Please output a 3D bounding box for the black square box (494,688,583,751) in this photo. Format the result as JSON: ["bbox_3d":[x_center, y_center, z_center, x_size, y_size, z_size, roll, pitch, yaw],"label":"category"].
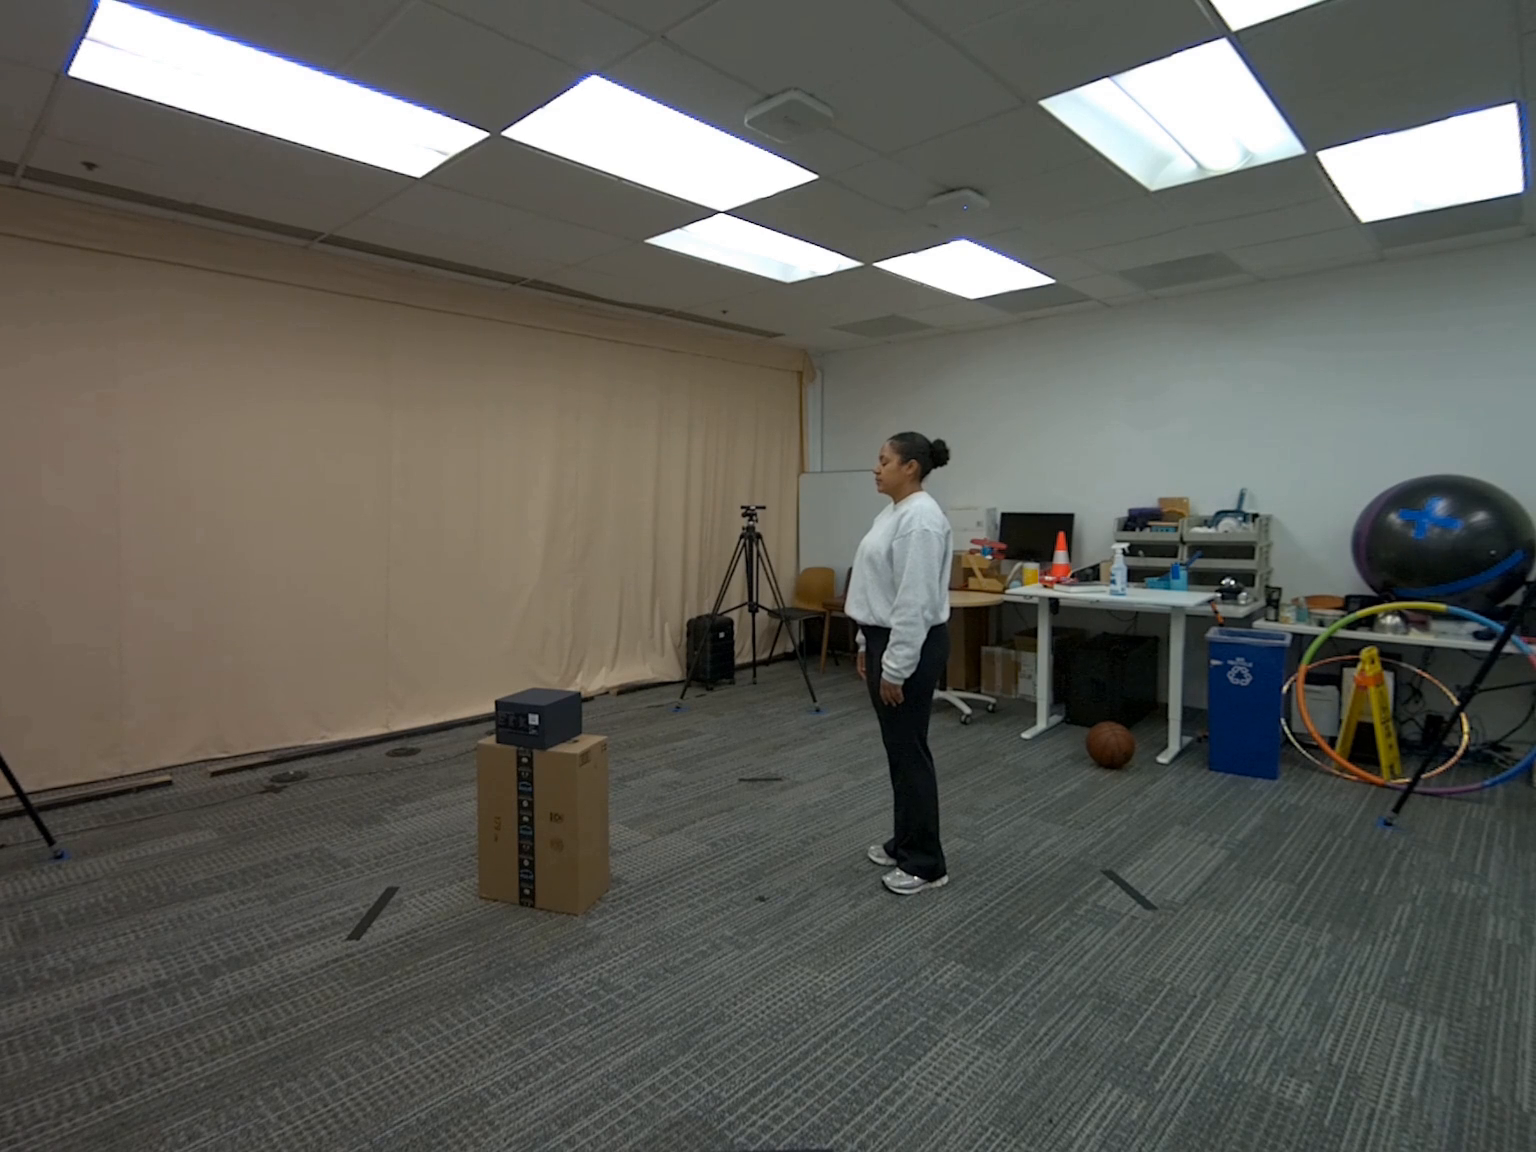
[{"bbox_3d":[-0.817,0.504,3.015,0.222,0.155,0.223,1,5,23],"label":"black square box"}]
